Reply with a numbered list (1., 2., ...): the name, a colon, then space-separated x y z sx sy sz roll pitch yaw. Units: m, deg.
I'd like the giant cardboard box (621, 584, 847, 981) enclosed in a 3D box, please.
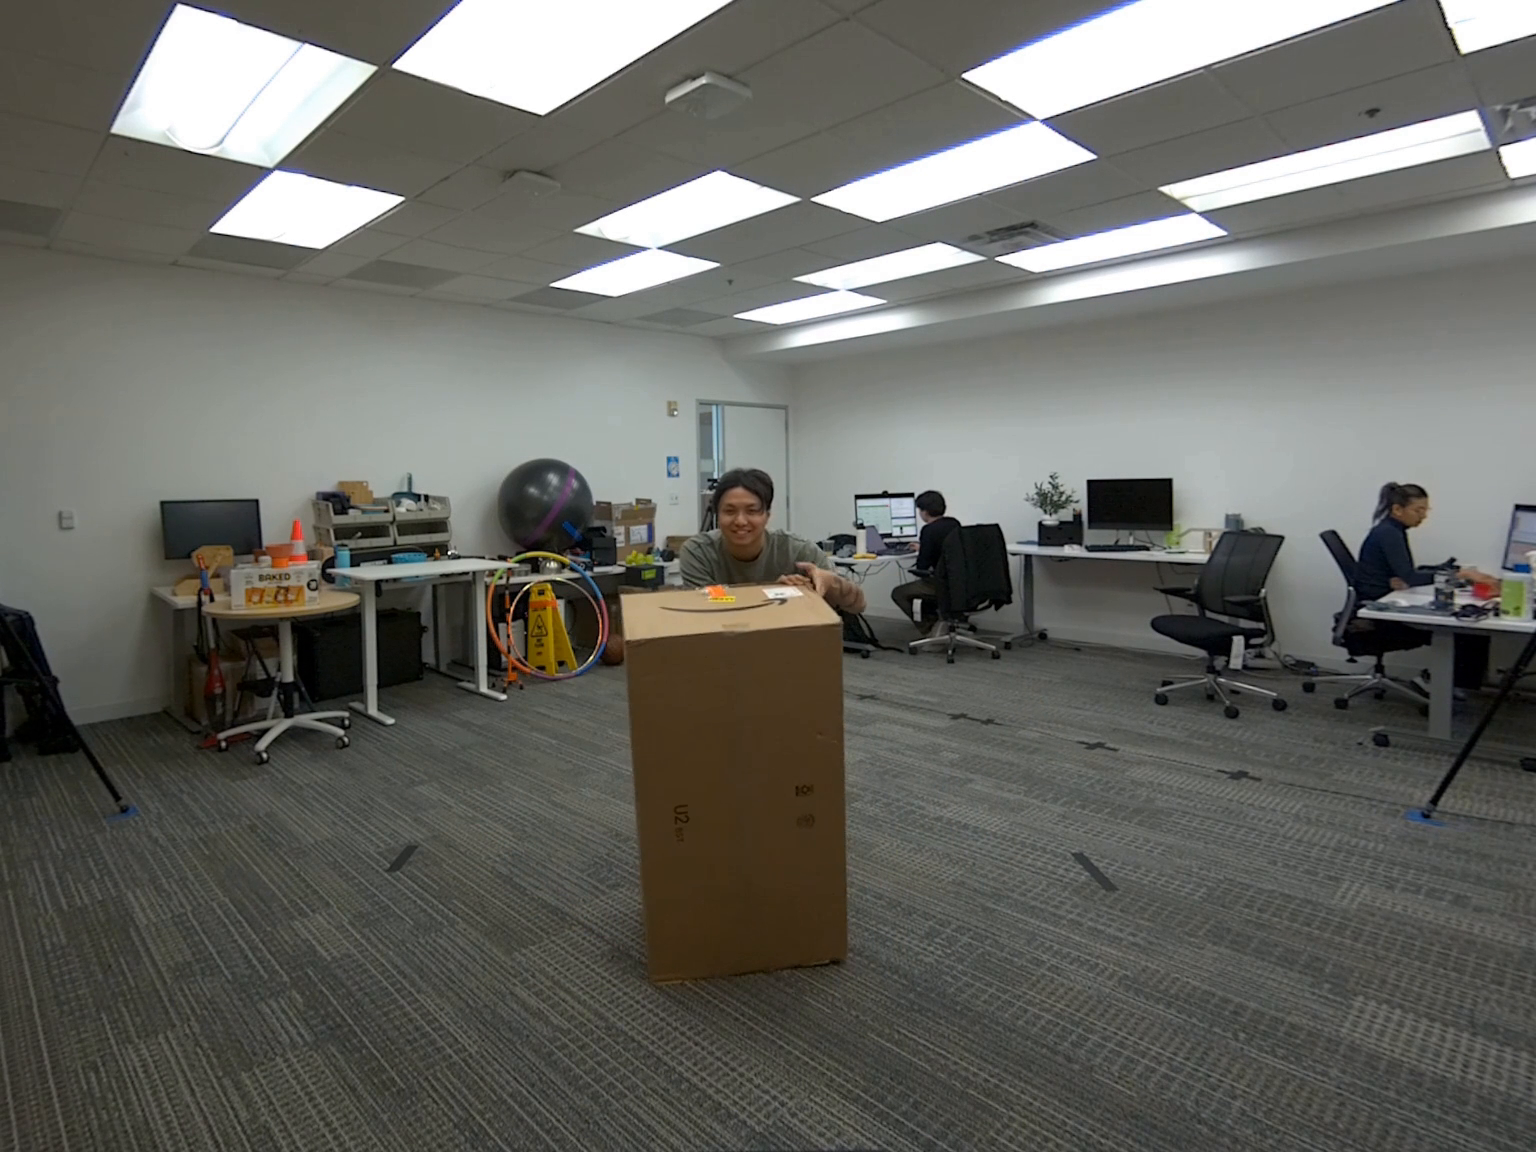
1. giant cardboard box: -0.119 0.584 2.500 0.573 1.013 0.435 -5 13 -10
